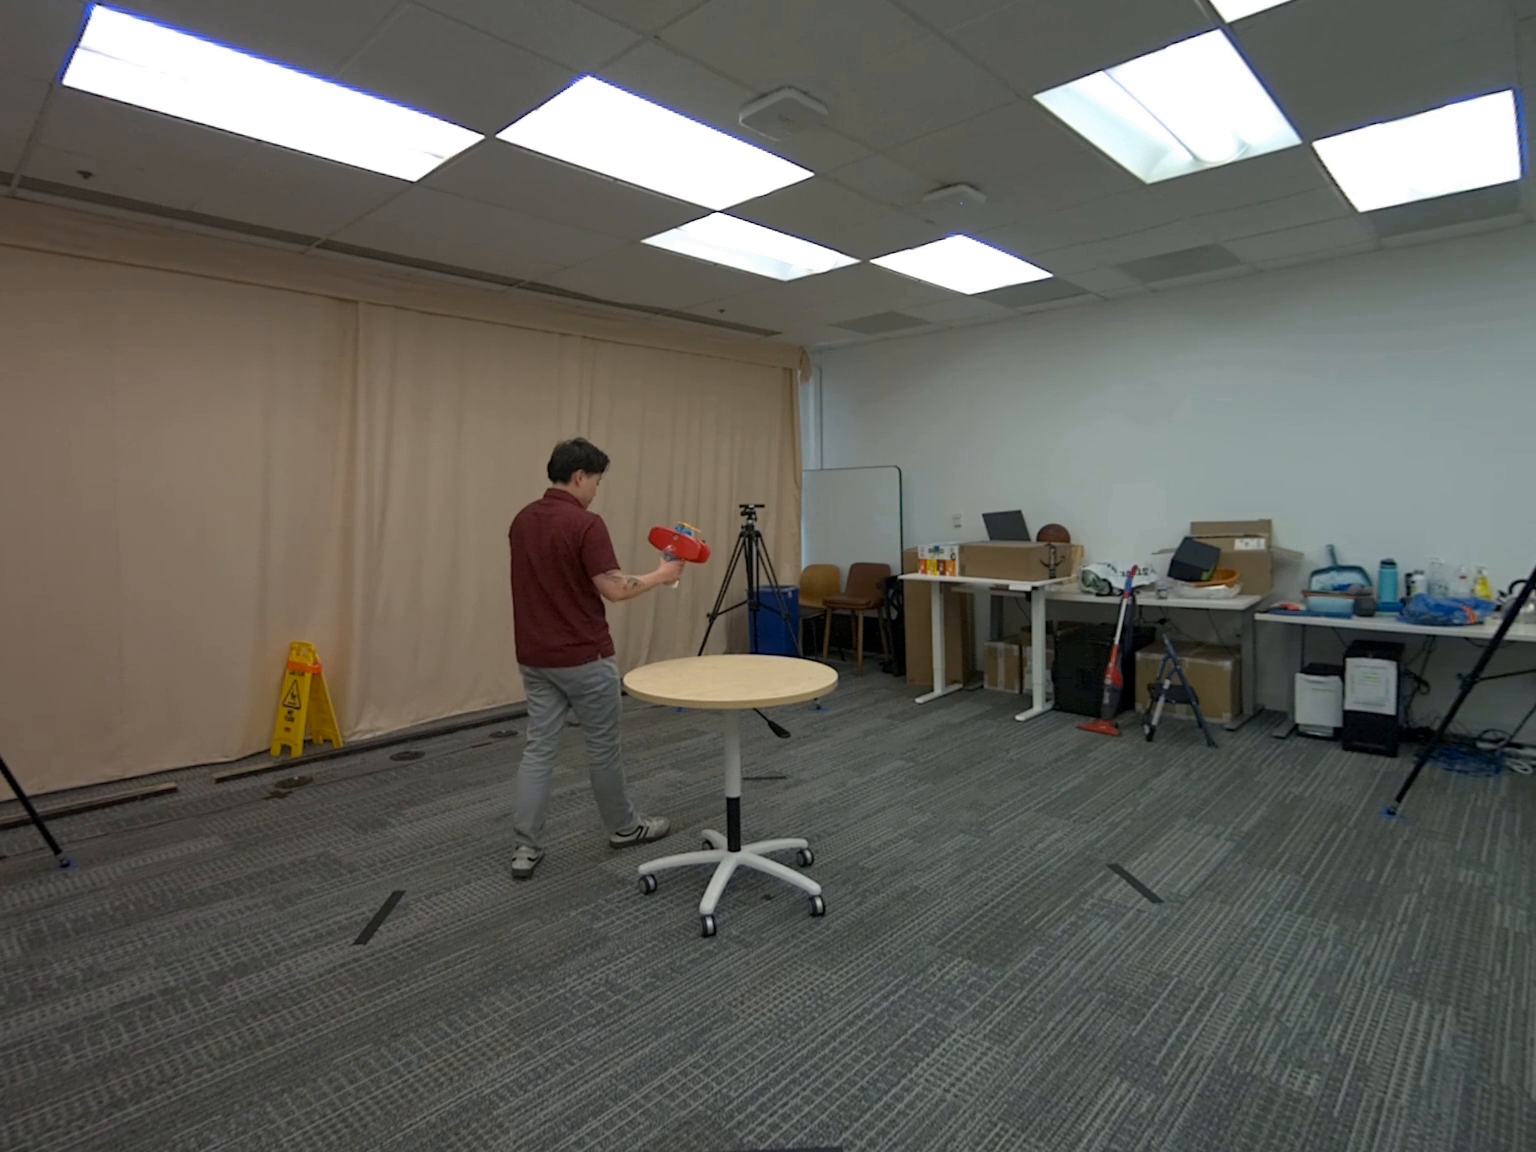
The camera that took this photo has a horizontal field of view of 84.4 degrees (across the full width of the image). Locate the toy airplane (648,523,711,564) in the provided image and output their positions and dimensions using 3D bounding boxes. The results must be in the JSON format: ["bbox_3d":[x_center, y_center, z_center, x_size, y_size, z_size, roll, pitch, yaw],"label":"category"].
[{"bbox_3d":[-0.343,-0.085,3.406,0.256,0.263,0.151,-8,-26,19],"label":"toy airplane"}]
